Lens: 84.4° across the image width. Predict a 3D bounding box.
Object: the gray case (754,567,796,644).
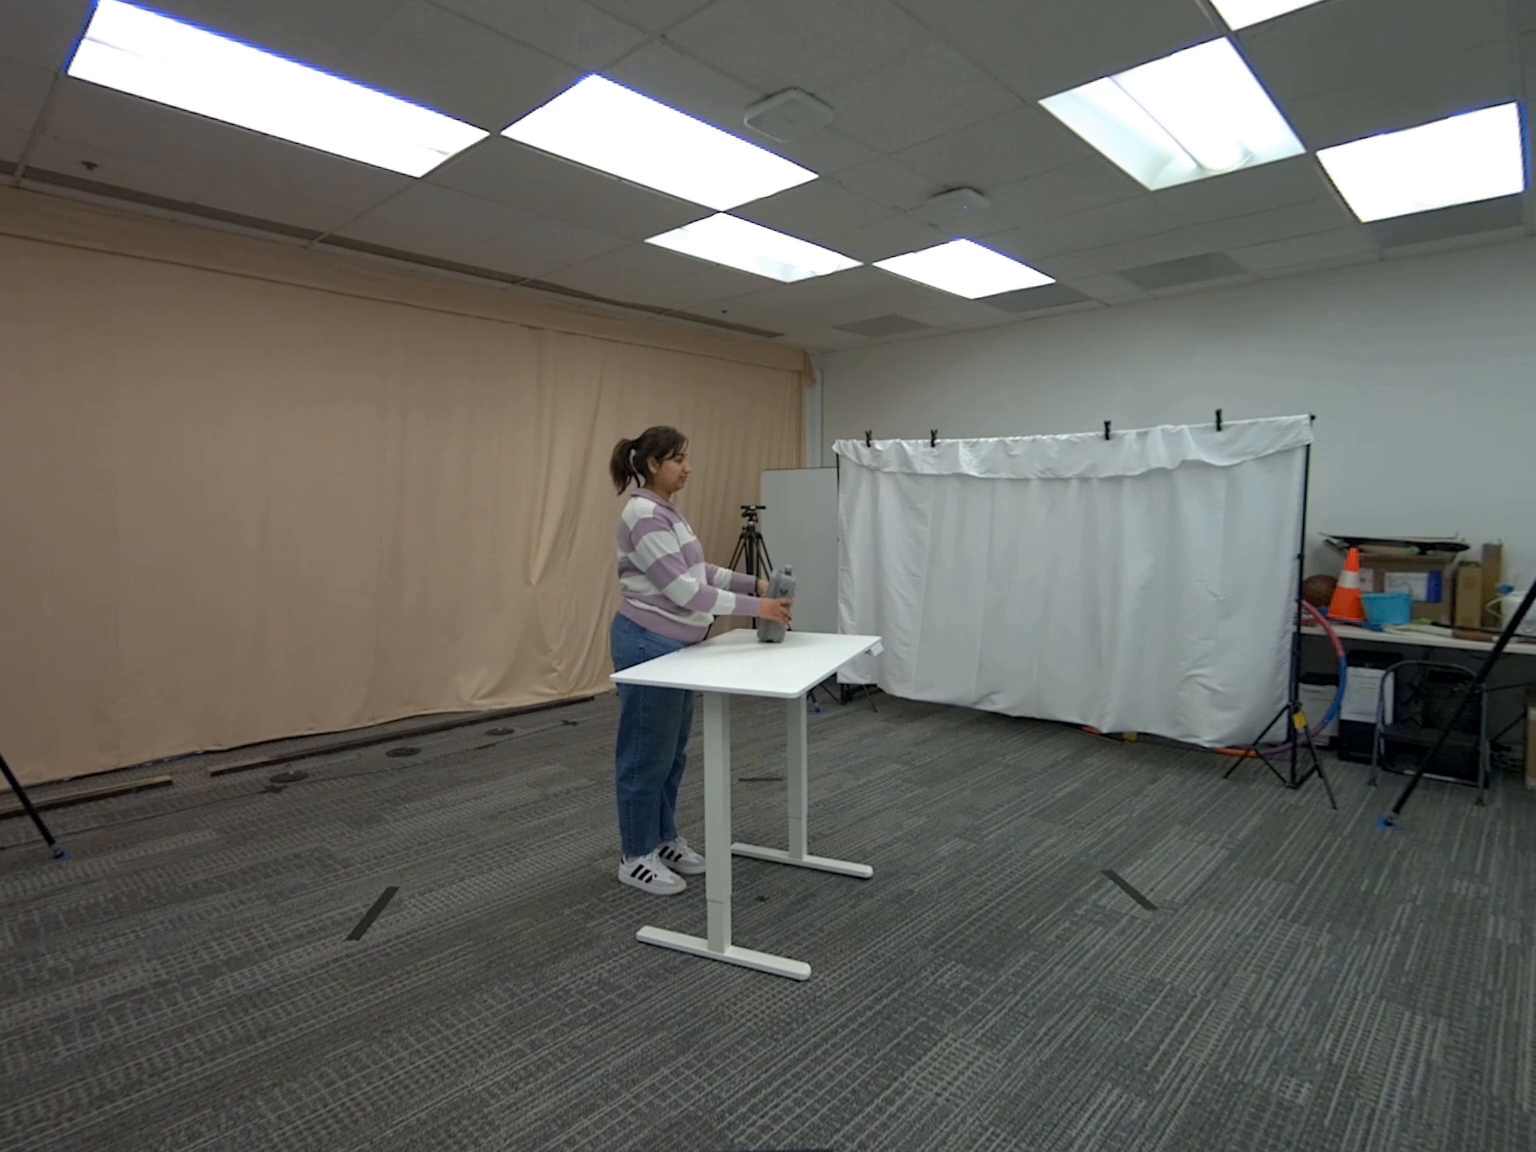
[{"bbox_3d":[0.038,0.113,3.194,0.104,0.260,0.257,13,5,0],"label":"gray case"}]
